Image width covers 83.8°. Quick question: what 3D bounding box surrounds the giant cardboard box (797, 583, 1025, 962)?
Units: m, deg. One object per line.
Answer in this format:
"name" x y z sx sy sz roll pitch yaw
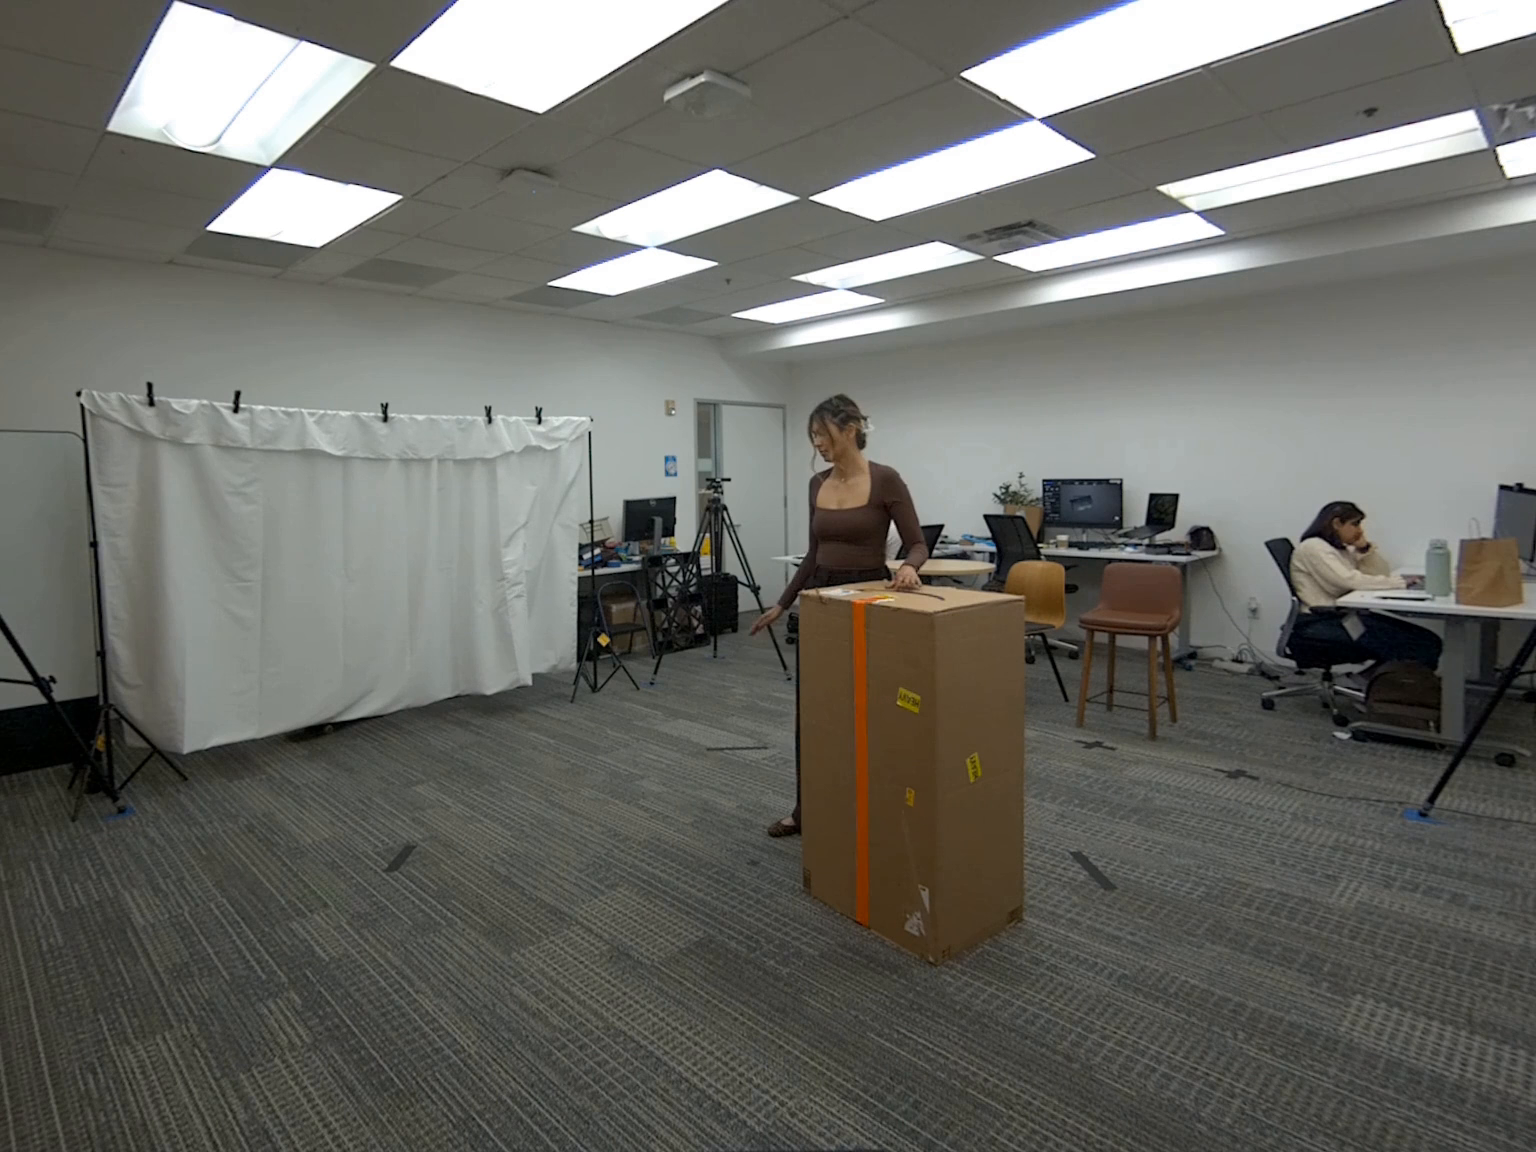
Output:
"giant cardboard box" 0.453 0.565 2.746 0.435 1.023 0.601 -5 6 -37
